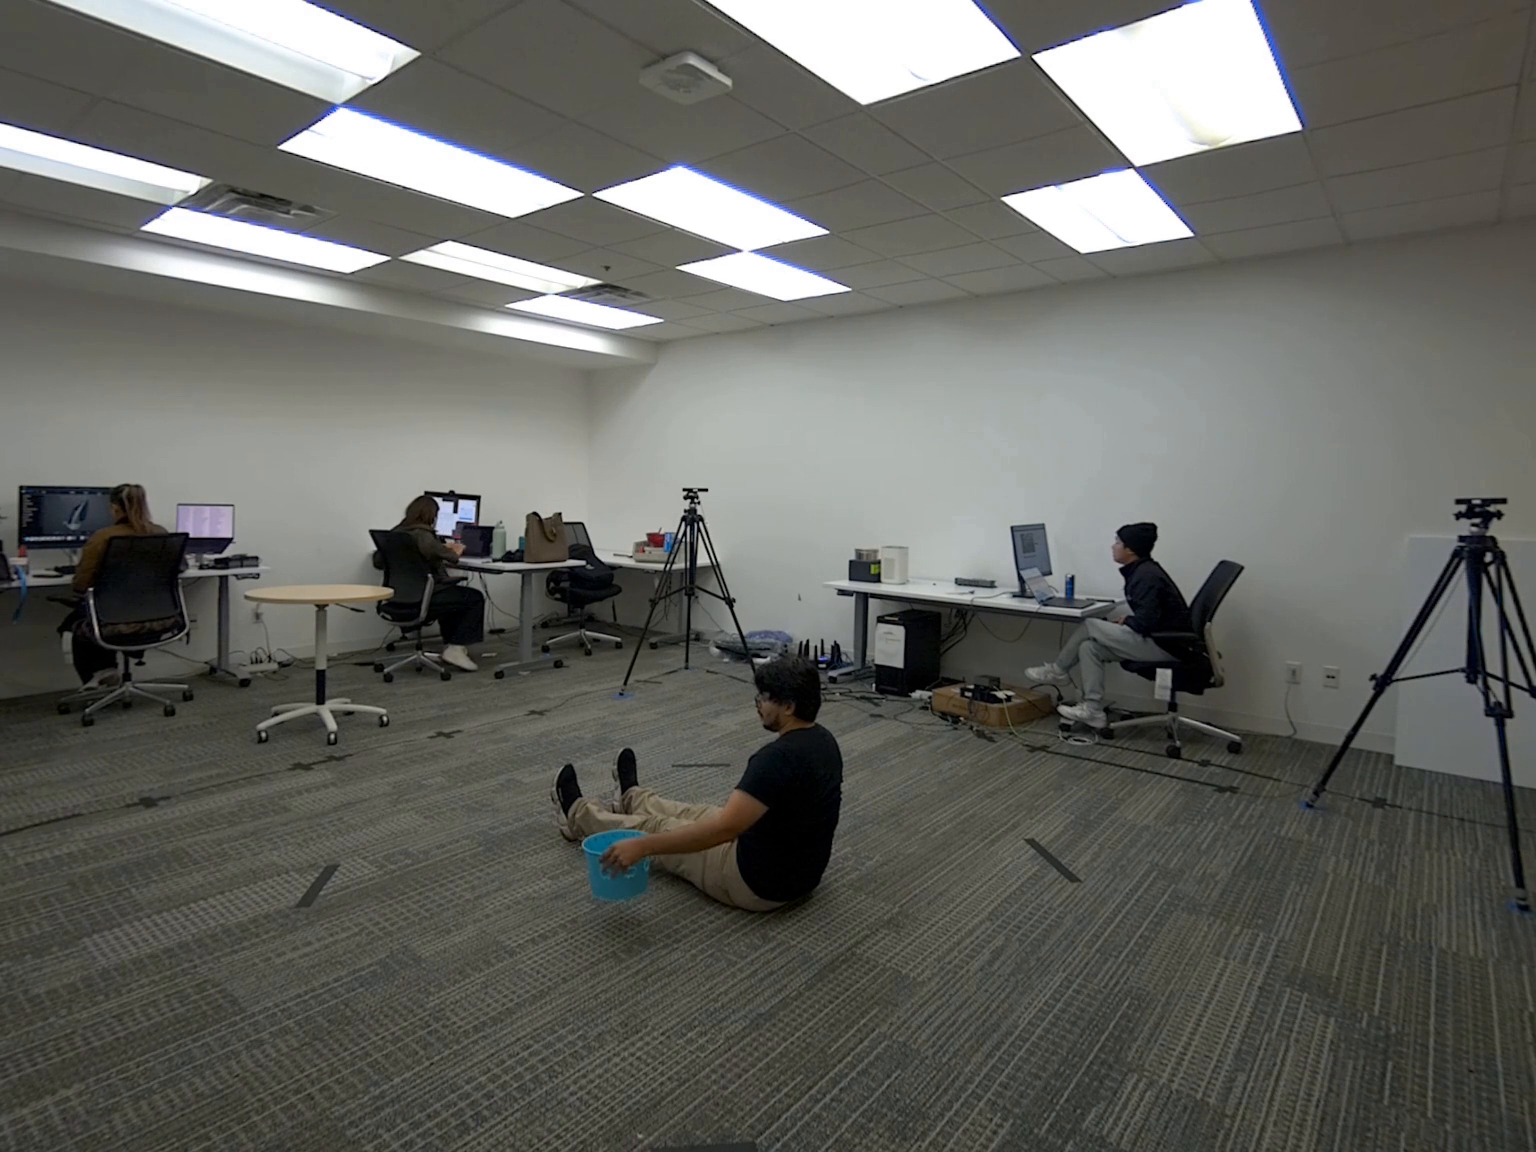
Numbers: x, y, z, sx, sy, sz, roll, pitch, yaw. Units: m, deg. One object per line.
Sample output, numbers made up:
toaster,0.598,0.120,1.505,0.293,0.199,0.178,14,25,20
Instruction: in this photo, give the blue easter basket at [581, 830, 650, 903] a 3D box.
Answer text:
blue easter basket,-0.486,0.923,2.738,0.243,0.156,0.244,-1,1,-2
